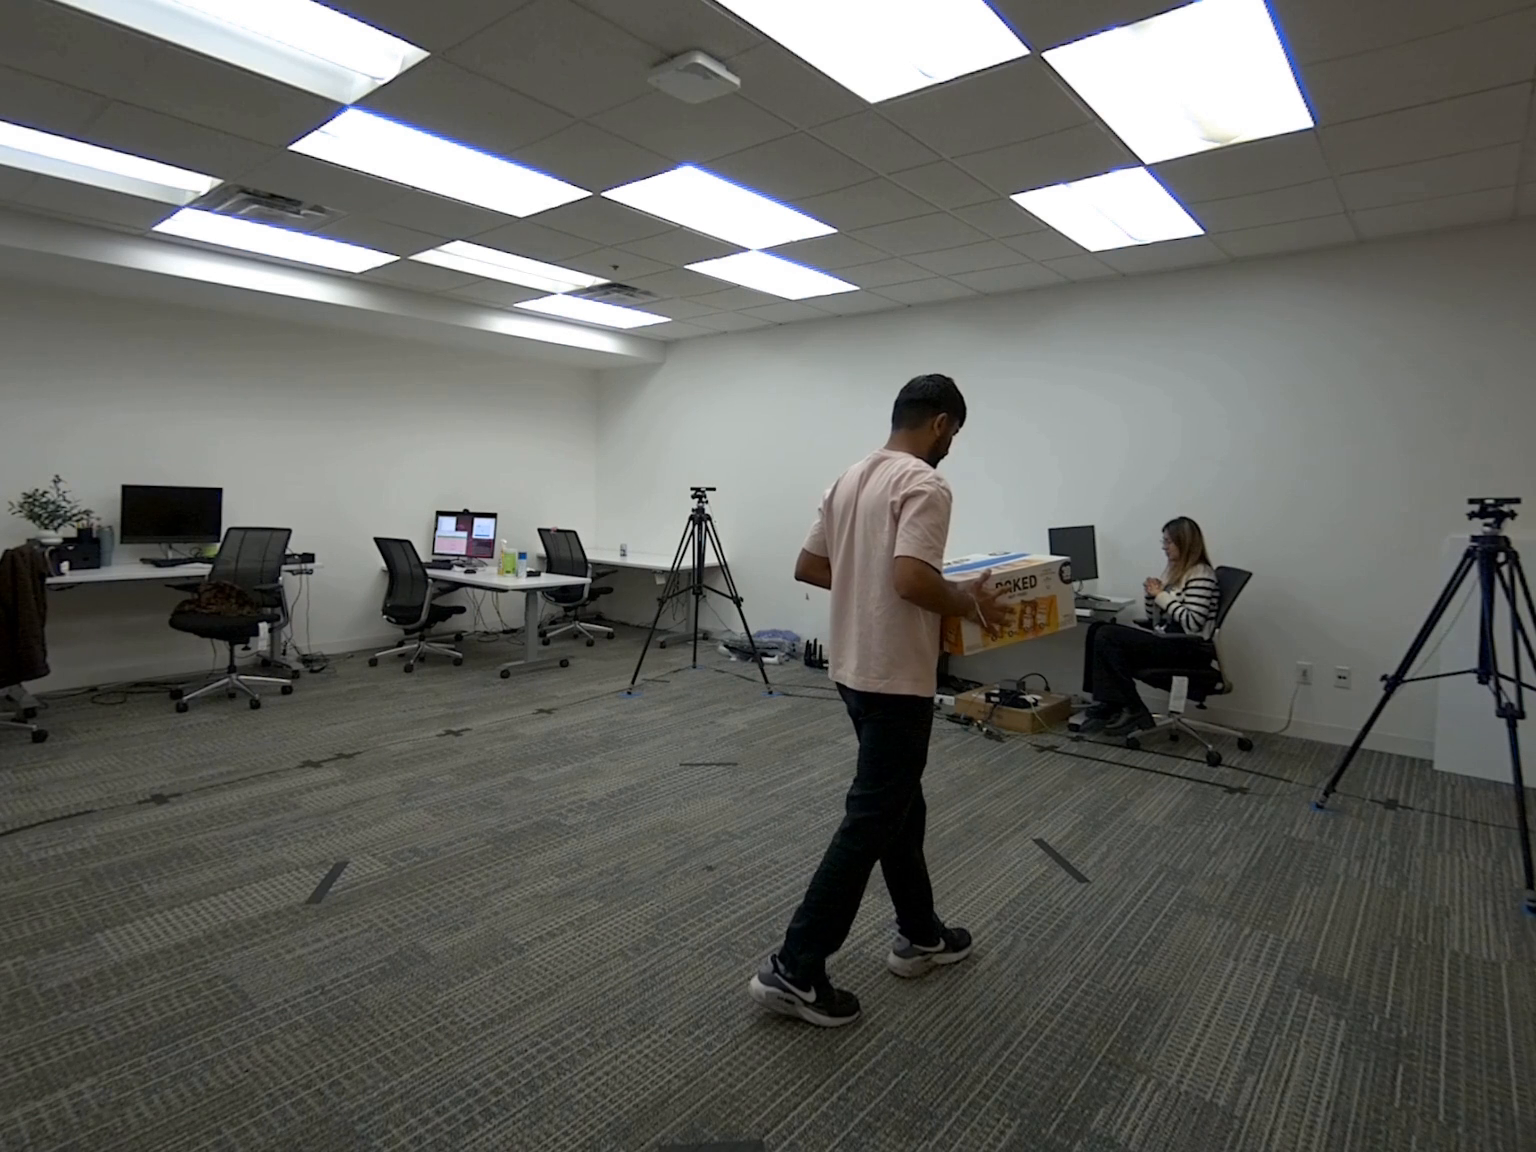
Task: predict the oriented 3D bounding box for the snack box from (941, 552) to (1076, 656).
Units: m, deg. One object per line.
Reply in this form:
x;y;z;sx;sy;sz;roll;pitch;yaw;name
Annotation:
0.611;0.063;2.477;0.397;0.204;0.350;-10;9;-25;snack box
